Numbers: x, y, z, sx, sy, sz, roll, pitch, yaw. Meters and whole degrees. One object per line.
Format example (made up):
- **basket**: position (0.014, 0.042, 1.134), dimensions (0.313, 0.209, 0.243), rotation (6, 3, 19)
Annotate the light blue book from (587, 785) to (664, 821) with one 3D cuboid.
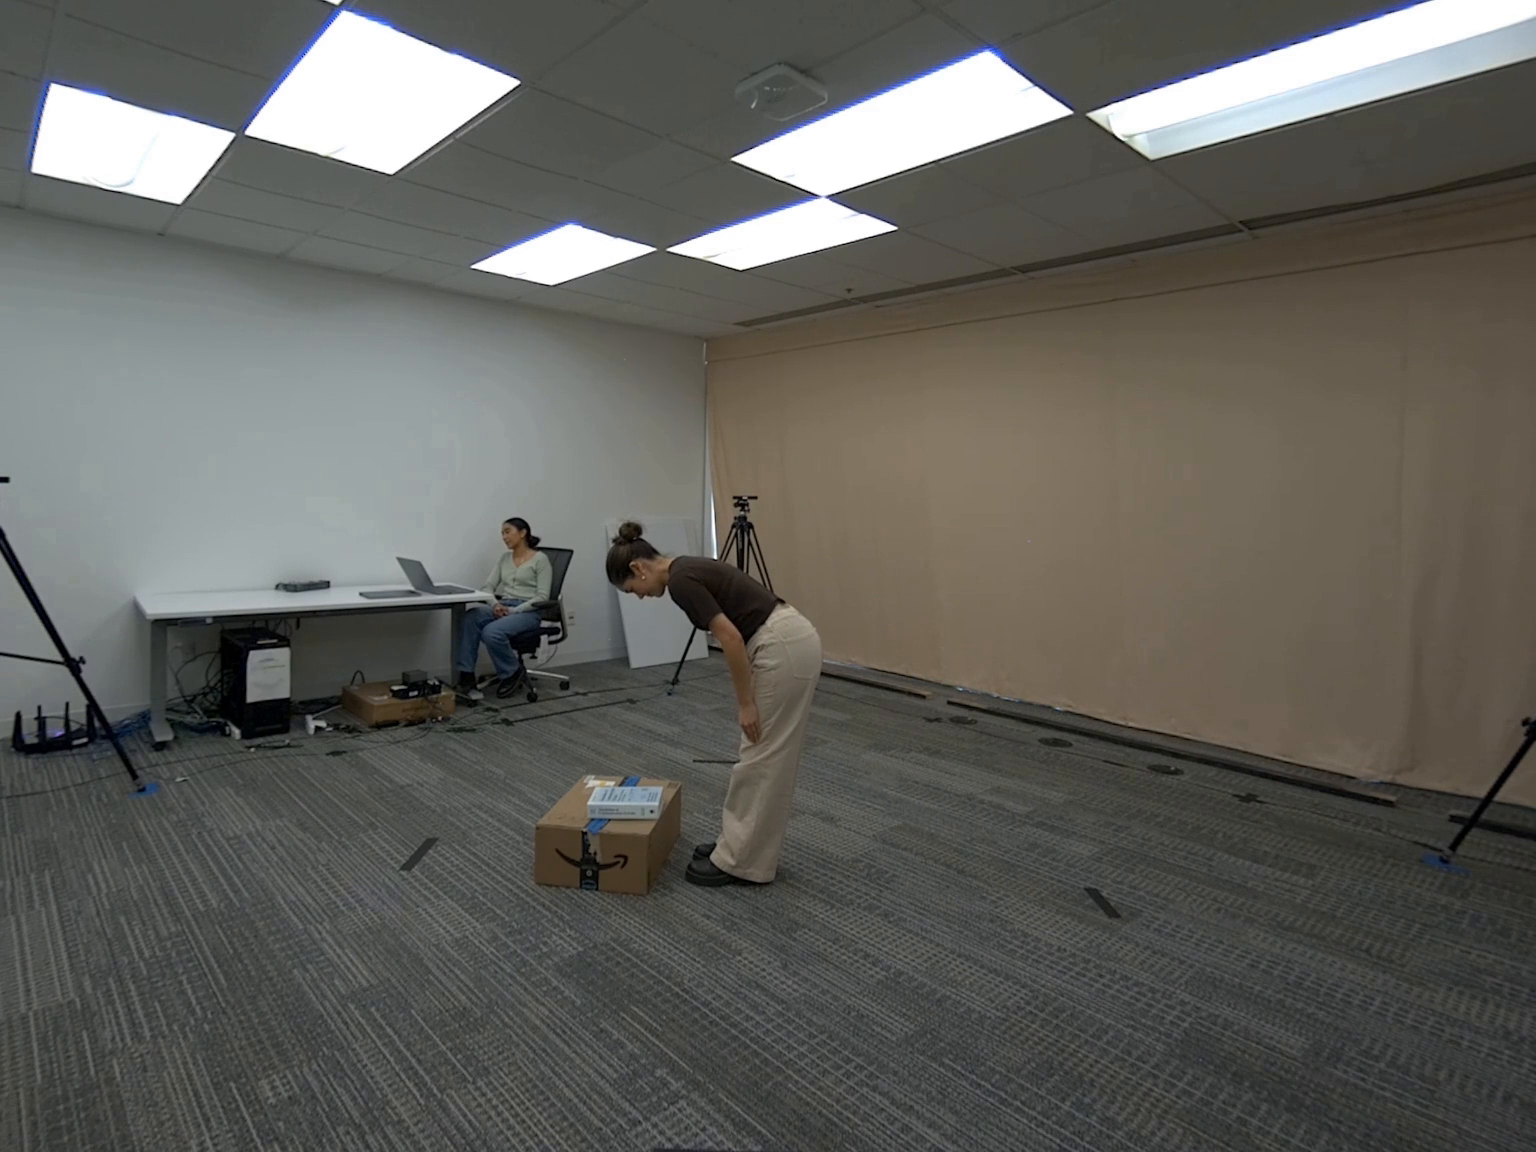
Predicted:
- **light blue book**: position (-0.531, 0.842, 3.155), dimensions (0.261, 0.059, 0.192), rotation (0, 4, 1)
